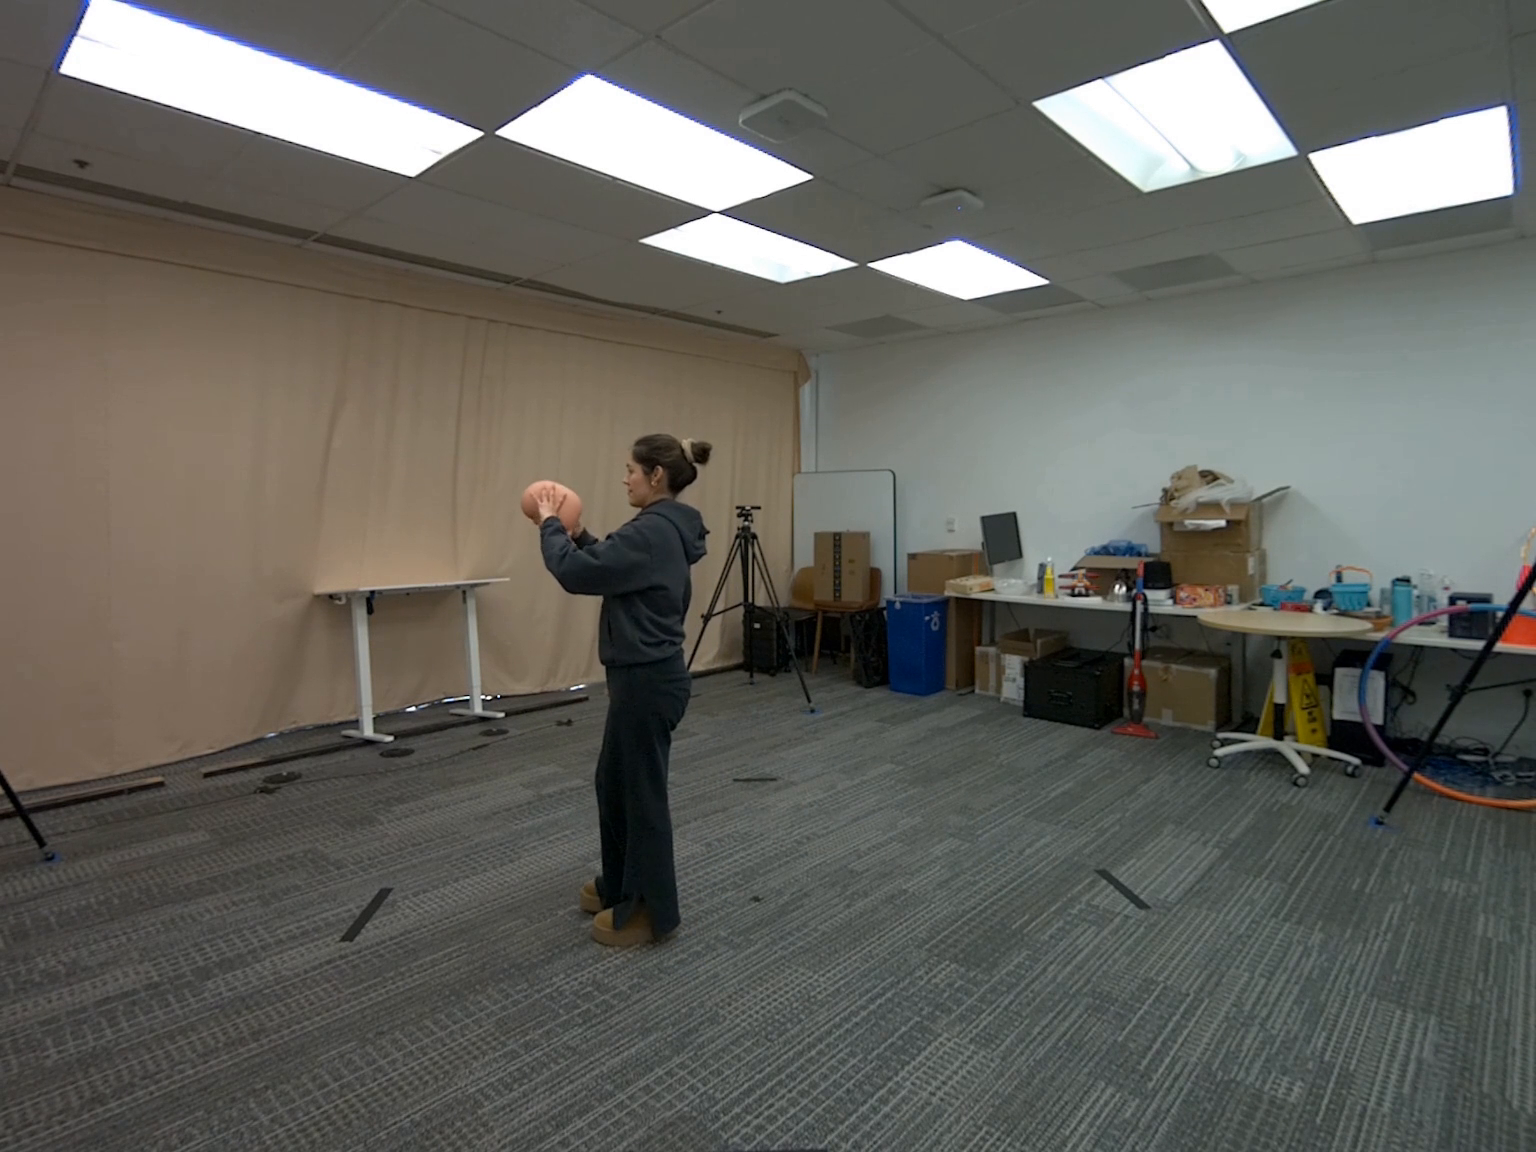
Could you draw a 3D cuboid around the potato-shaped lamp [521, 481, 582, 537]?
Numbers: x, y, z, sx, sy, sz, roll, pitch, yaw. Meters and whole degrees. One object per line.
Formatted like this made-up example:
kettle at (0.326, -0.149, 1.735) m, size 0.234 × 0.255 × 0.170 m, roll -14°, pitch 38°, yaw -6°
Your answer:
potato-shaped lamp at (-0.721, -0.224, 2.782) m, size 0.194 × 0.171 × 0.168 m, roll 26°, pitch -8°, yaw -17°
